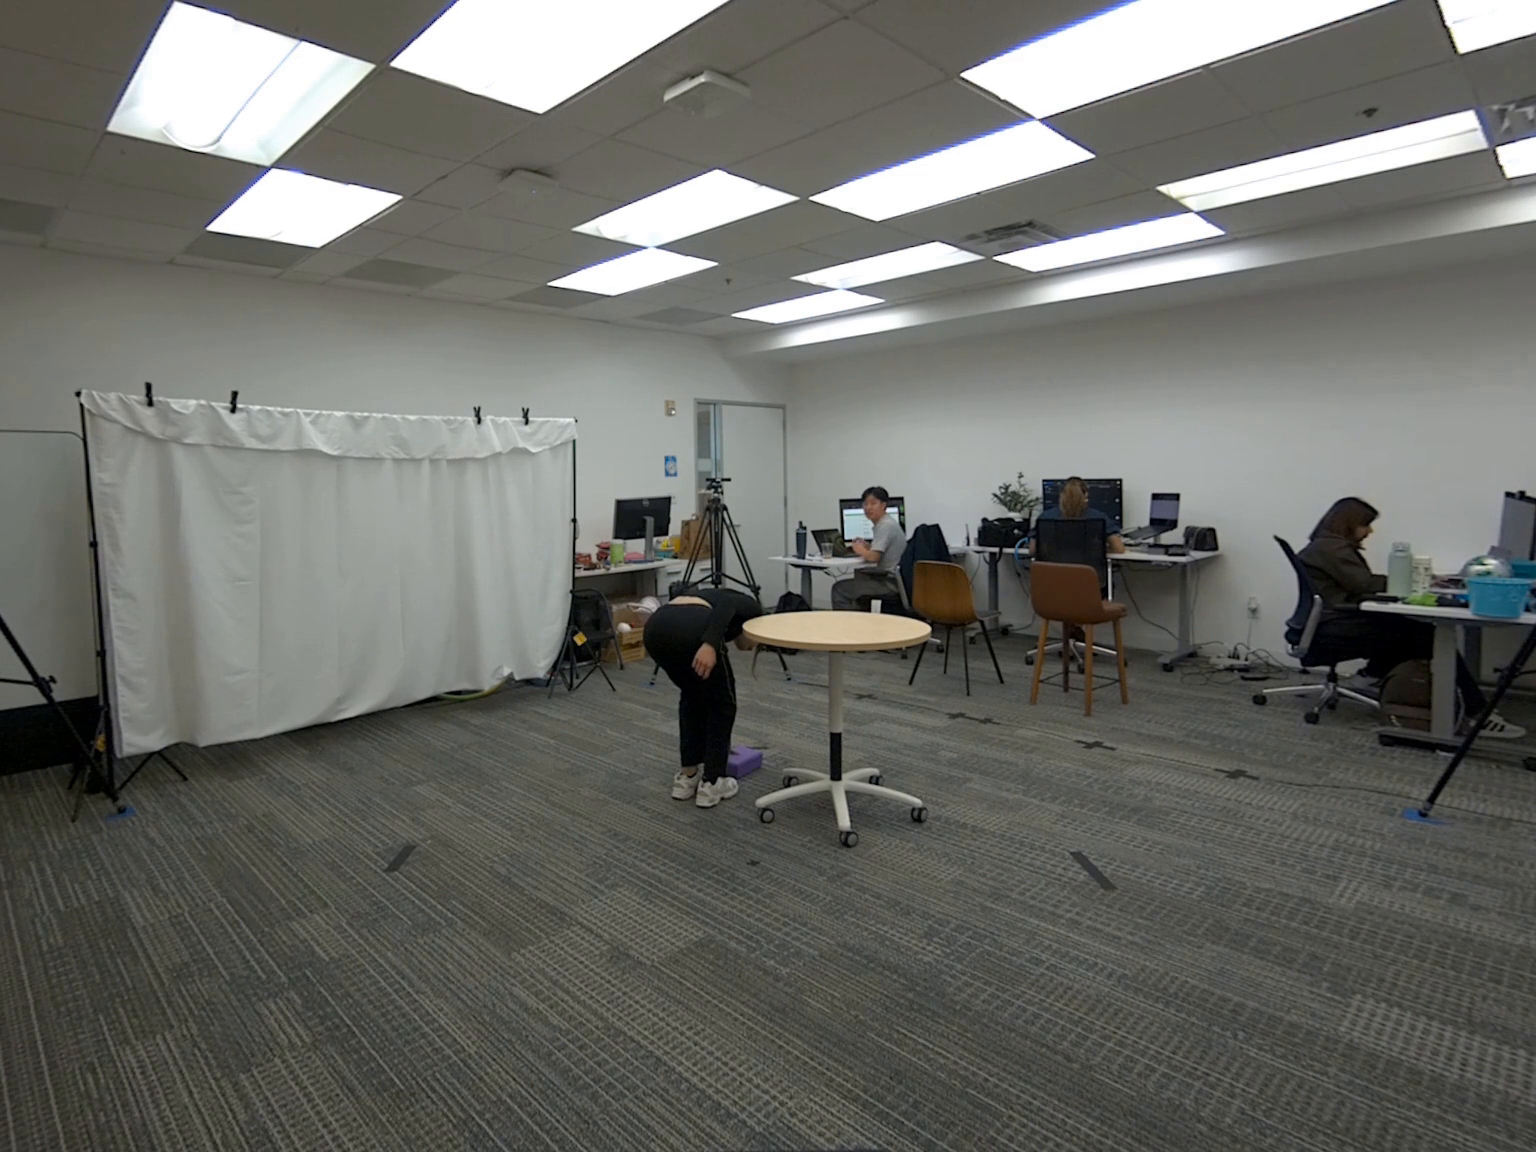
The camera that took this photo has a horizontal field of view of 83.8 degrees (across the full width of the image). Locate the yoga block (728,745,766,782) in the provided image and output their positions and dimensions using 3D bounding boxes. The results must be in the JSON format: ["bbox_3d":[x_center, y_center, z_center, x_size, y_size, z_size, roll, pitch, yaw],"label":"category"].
[{"bbox_3d":[-0.140,0.892,4.097,0.153,0.076,0.224,6,8,33],"label":"yoga block"}]
